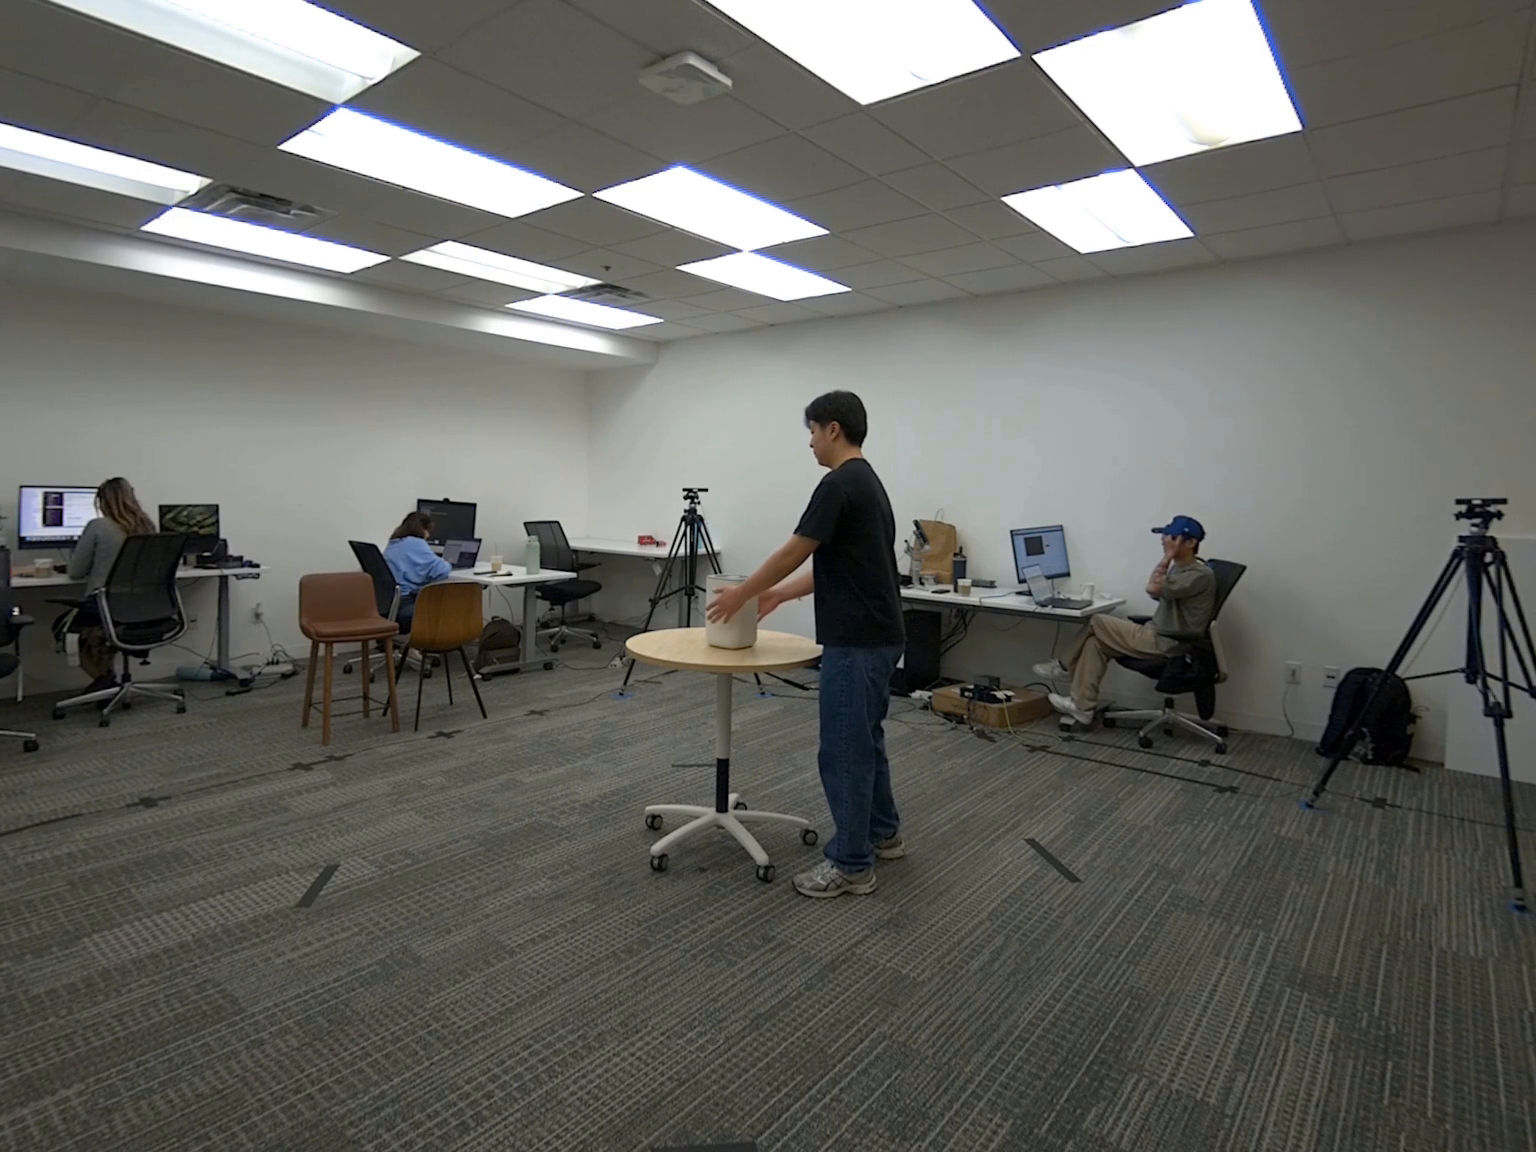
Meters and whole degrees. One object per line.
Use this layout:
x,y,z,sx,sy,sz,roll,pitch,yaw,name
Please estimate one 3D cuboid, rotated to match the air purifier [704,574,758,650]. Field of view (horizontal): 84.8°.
-0.149,0.131,3.243,0.177,0.264,0.166,5,5,40,air purifier
